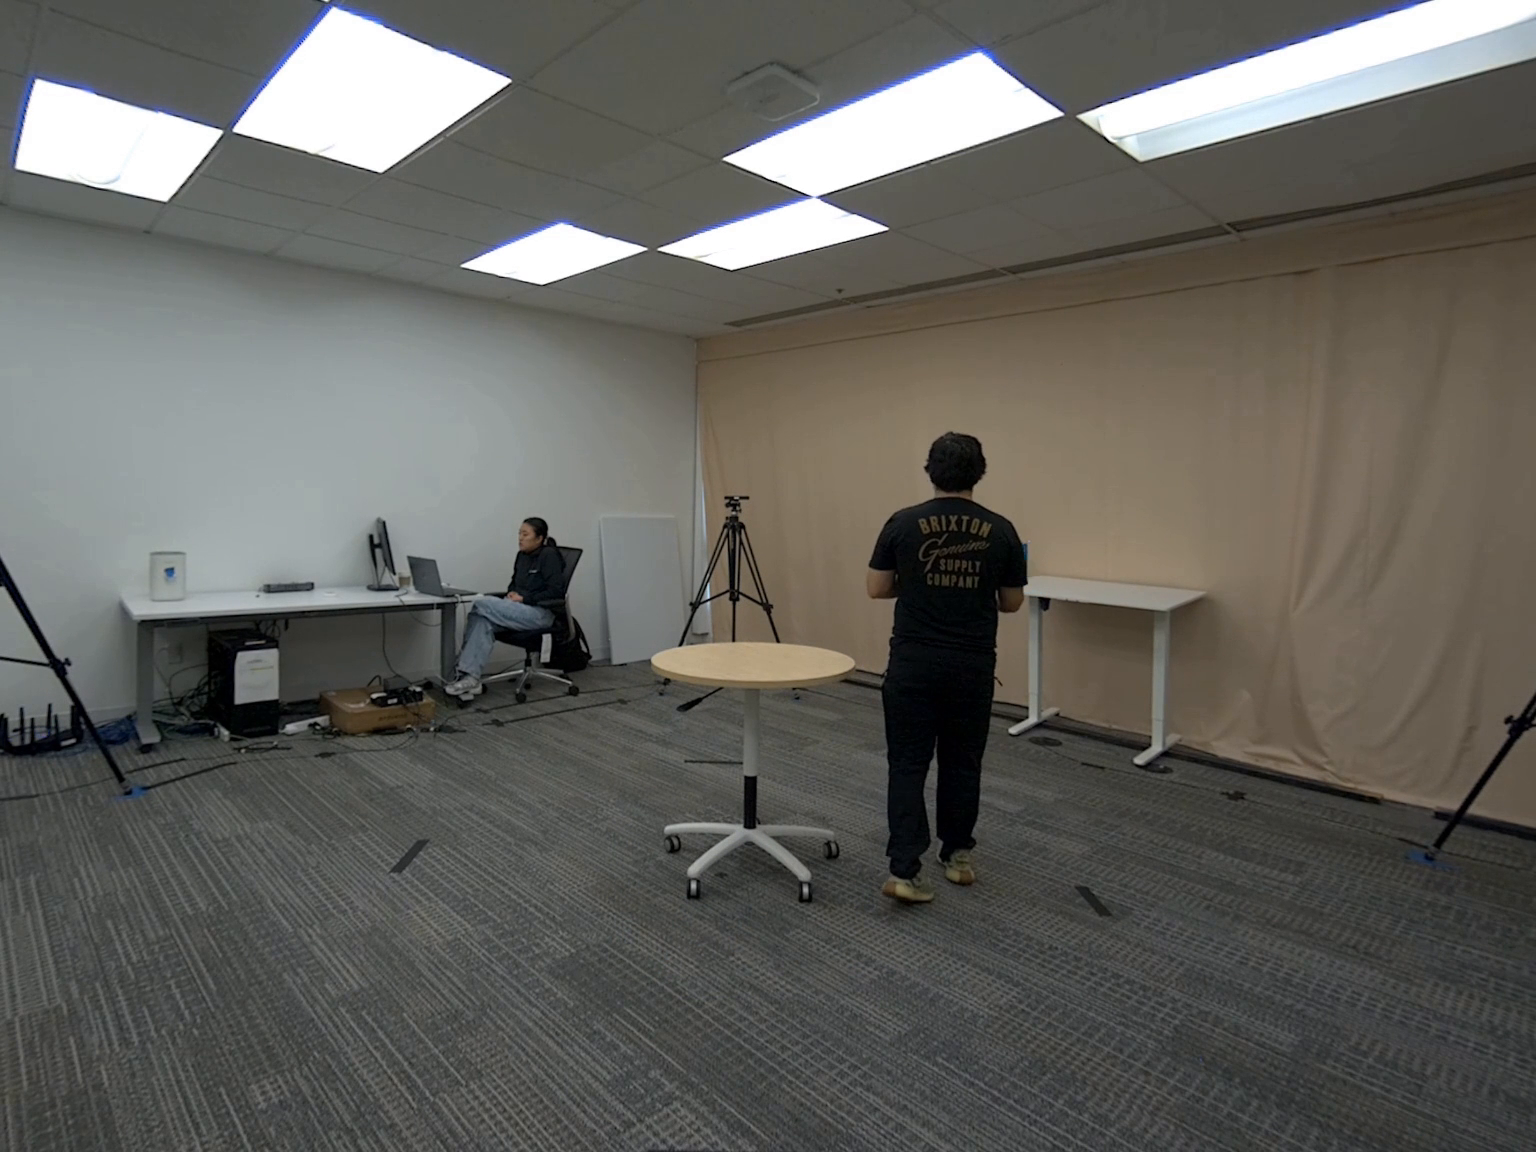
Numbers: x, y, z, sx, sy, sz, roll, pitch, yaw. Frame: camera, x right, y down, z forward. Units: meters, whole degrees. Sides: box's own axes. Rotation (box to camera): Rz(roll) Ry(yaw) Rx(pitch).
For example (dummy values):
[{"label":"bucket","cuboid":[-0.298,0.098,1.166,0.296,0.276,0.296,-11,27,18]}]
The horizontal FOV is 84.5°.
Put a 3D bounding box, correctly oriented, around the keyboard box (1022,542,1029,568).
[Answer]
[{"label":"keyboard box","cuboid":[0.857,-0.024,3.369,0.430,0.175,0.060,-8,8,-24]}]
